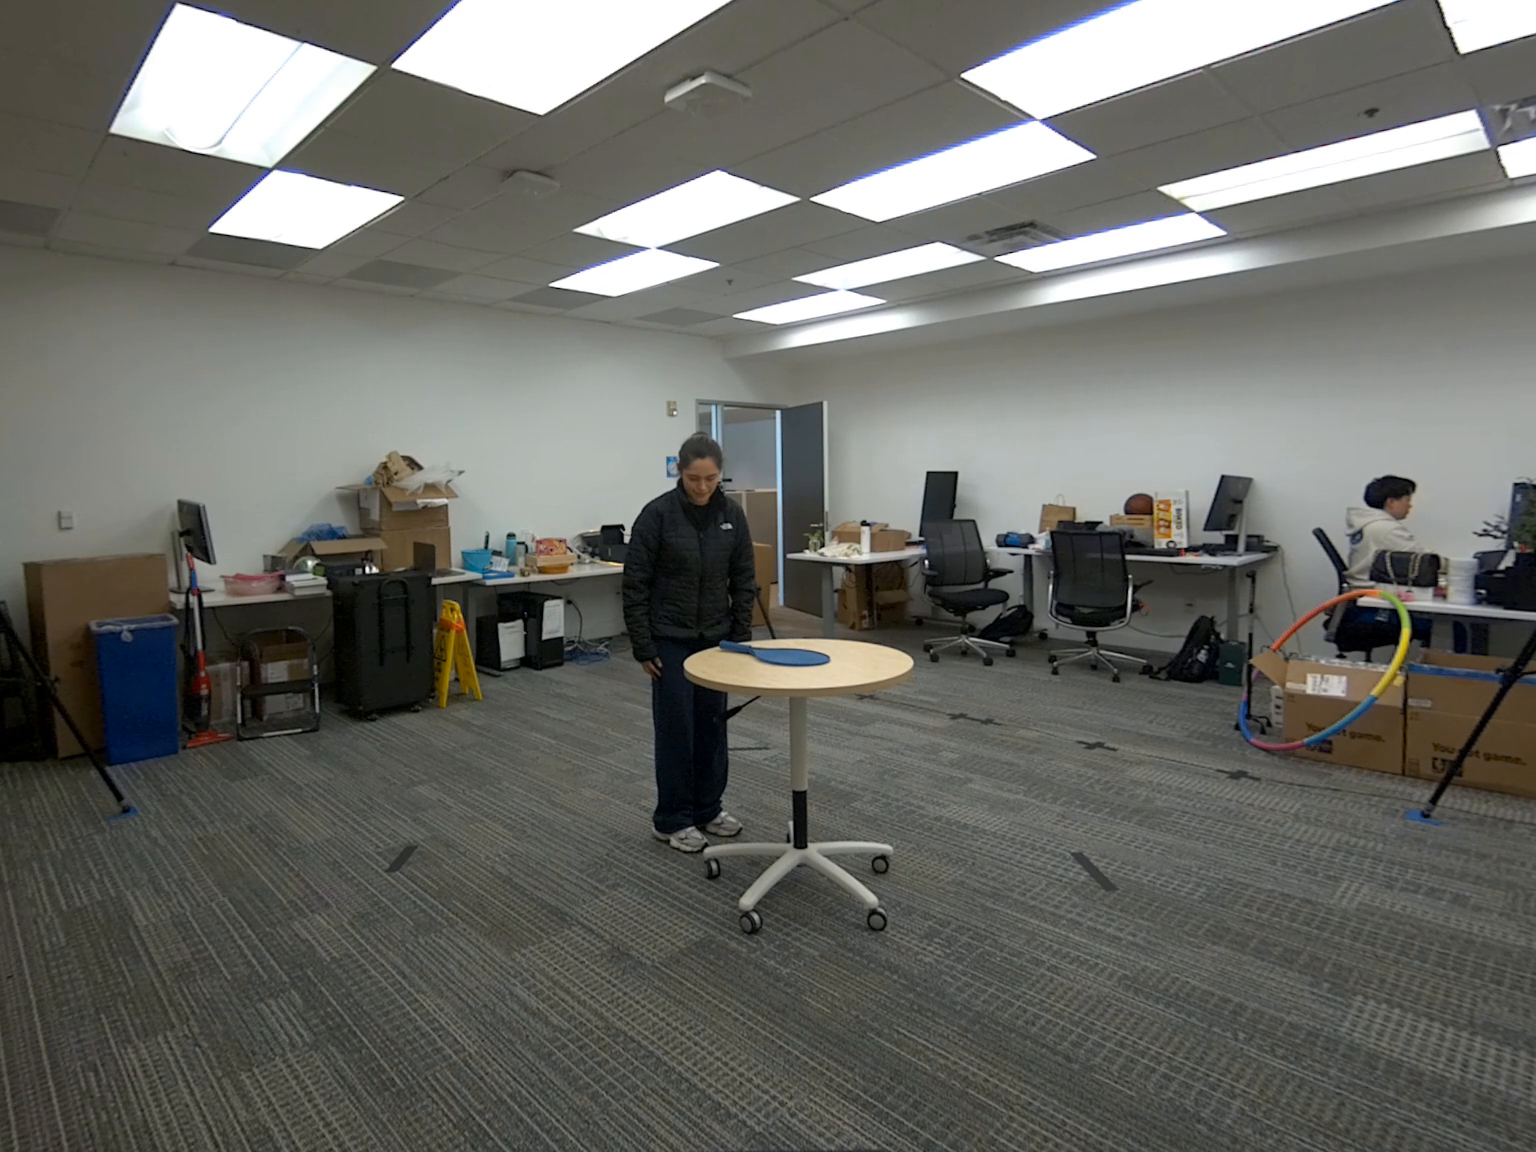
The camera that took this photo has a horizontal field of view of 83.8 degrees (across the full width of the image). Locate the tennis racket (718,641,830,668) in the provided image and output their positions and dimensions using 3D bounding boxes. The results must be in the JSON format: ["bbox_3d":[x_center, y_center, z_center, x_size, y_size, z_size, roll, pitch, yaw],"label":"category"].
[{"bbox_3d":[0.017,0.269,2.942,0.446,0.031,0.208,5,8,37],"label":"tennis racket"}]
